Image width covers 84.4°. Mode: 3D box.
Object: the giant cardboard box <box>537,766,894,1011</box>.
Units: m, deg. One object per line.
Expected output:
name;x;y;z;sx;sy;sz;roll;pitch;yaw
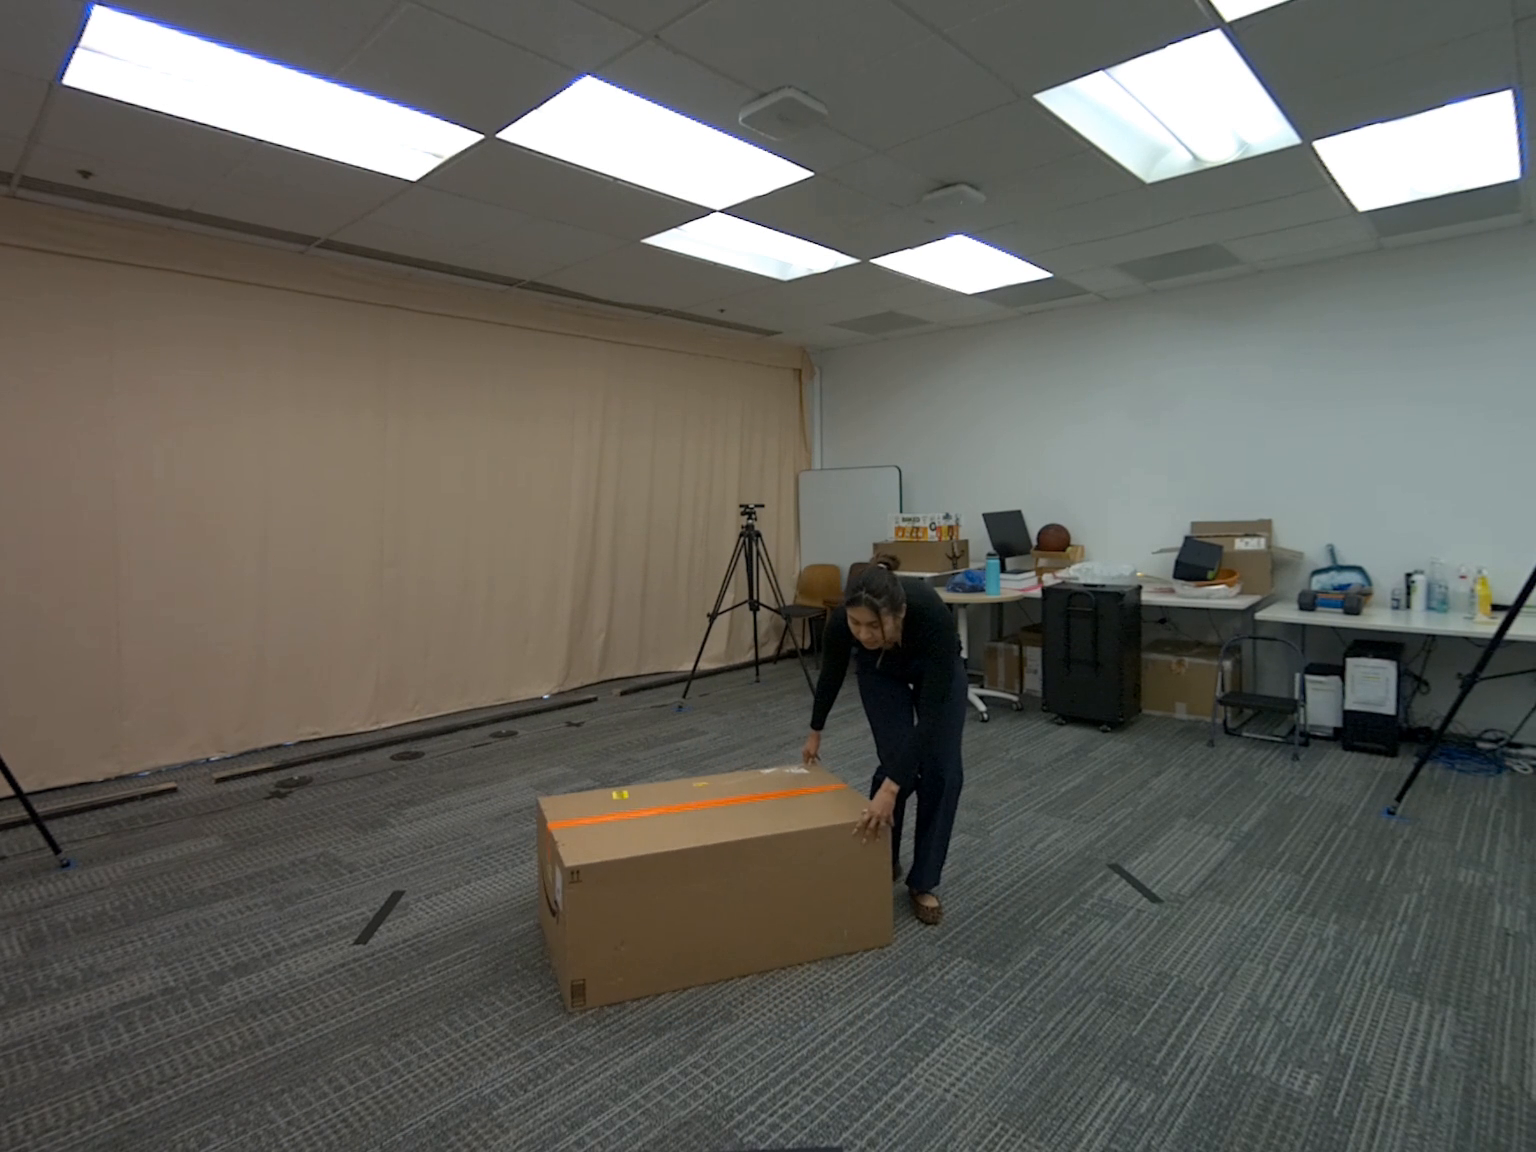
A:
giant cardboard box;-0.192;0.950;2.736;1.006;0.425;0.590;-3;4;-20
